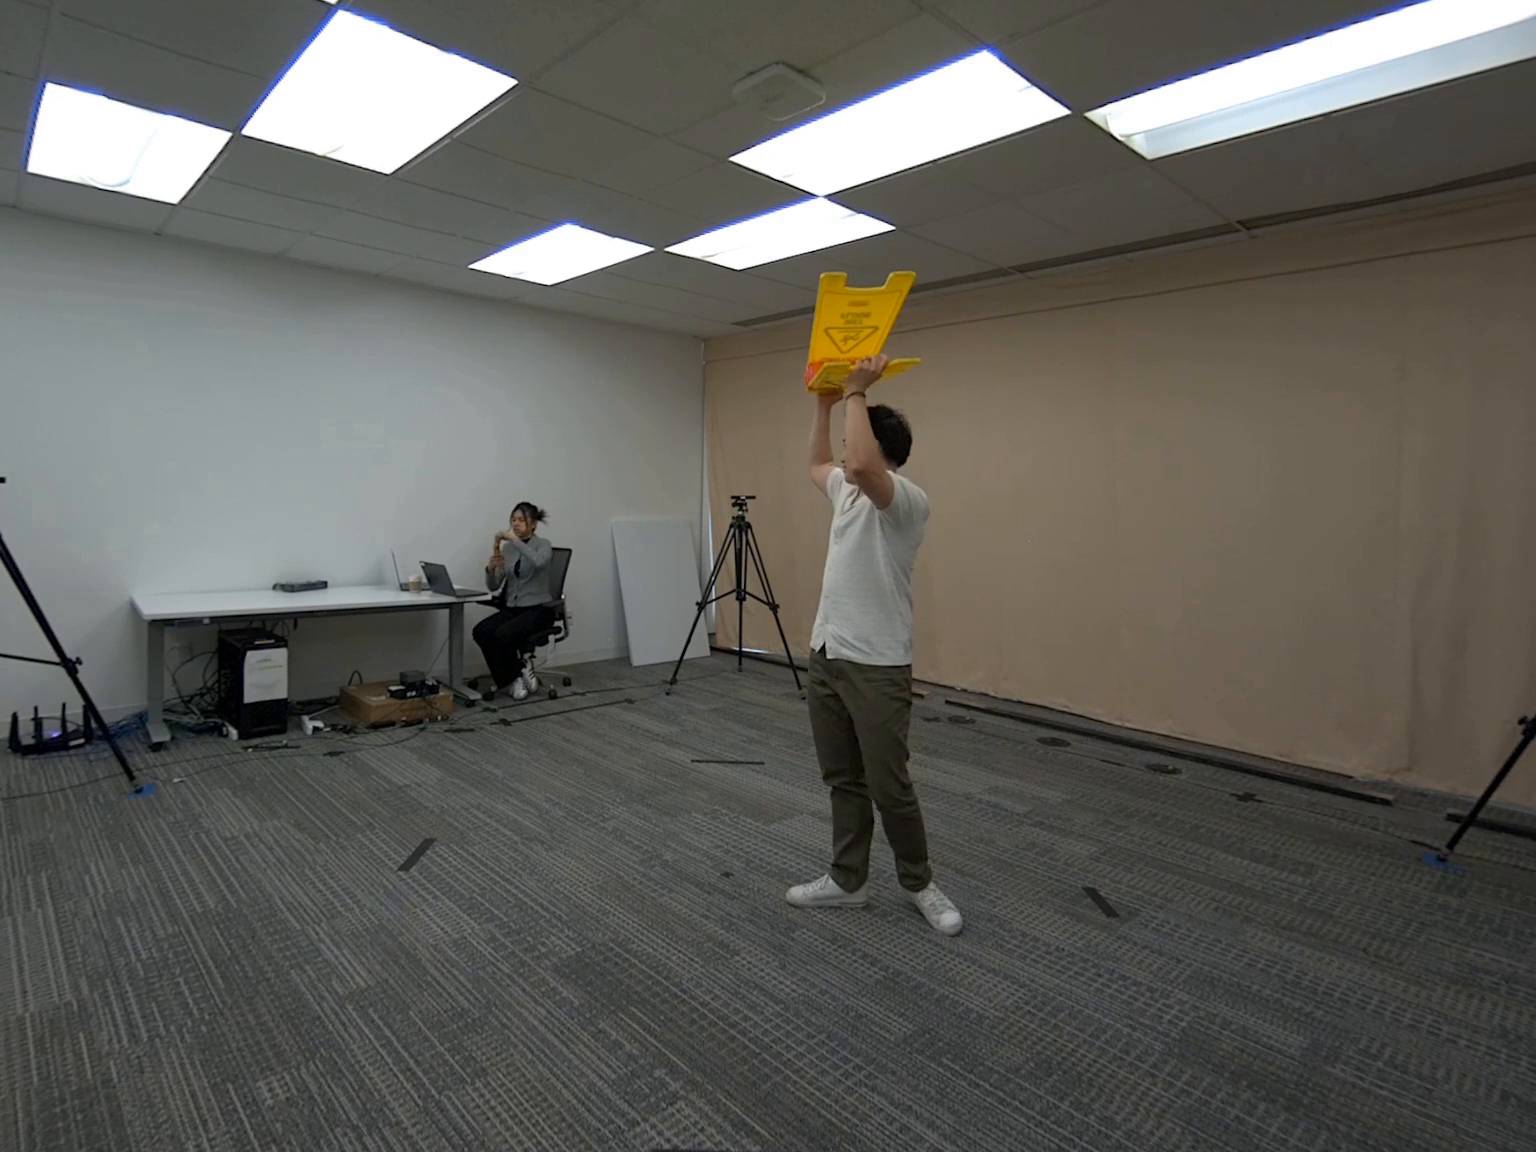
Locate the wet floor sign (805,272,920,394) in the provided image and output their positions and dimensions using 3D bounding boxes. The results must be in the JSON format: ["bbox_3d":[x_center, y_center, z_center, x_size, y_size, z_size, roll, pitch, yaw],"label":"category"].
[{"bbox_3d":[0.268,-0.708,2.708,0.281,0.291,0.644,-3,-6,-5],"label":"wet floor sign"}]
